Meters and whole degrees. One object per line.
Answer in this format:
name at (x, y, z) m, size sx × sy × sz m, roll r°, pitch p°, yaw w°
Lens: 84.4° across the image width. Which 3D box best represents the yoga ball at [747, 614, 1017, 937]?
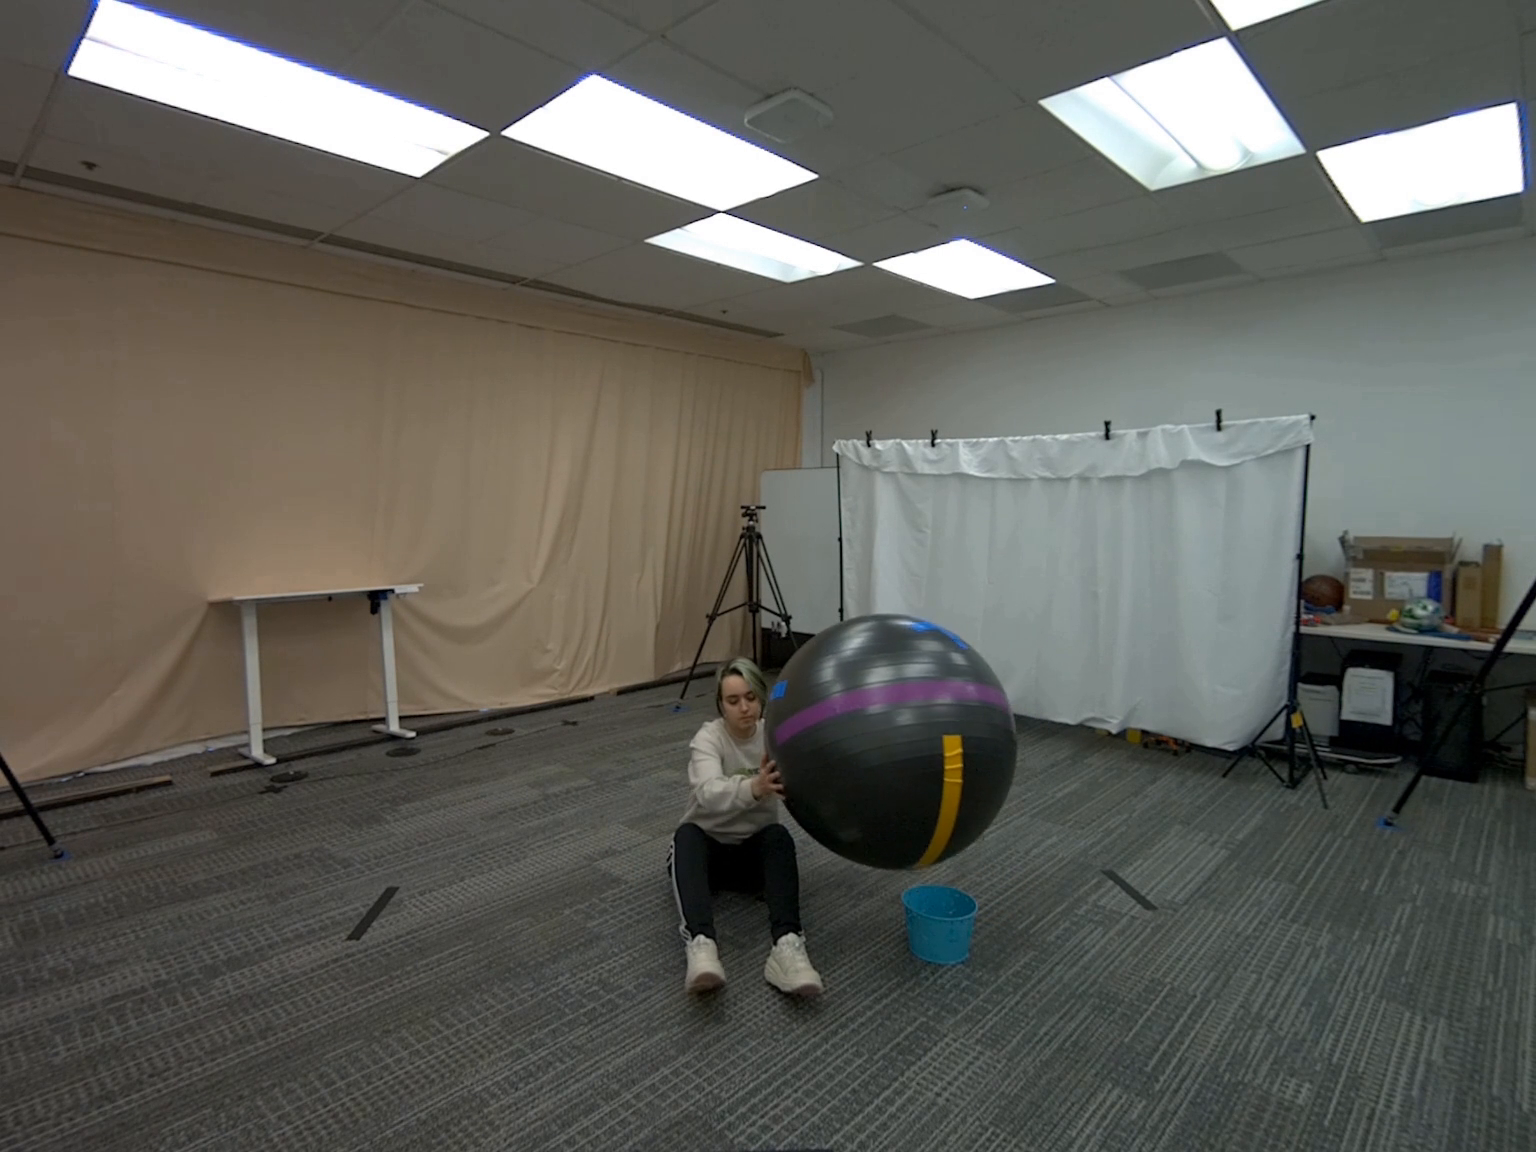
yoga ball at (0.362, 0.510, 2.572) m, size 0.757 × 0.756 × 0.761 m, roll 0°, pitch 4°, yaw -2°
